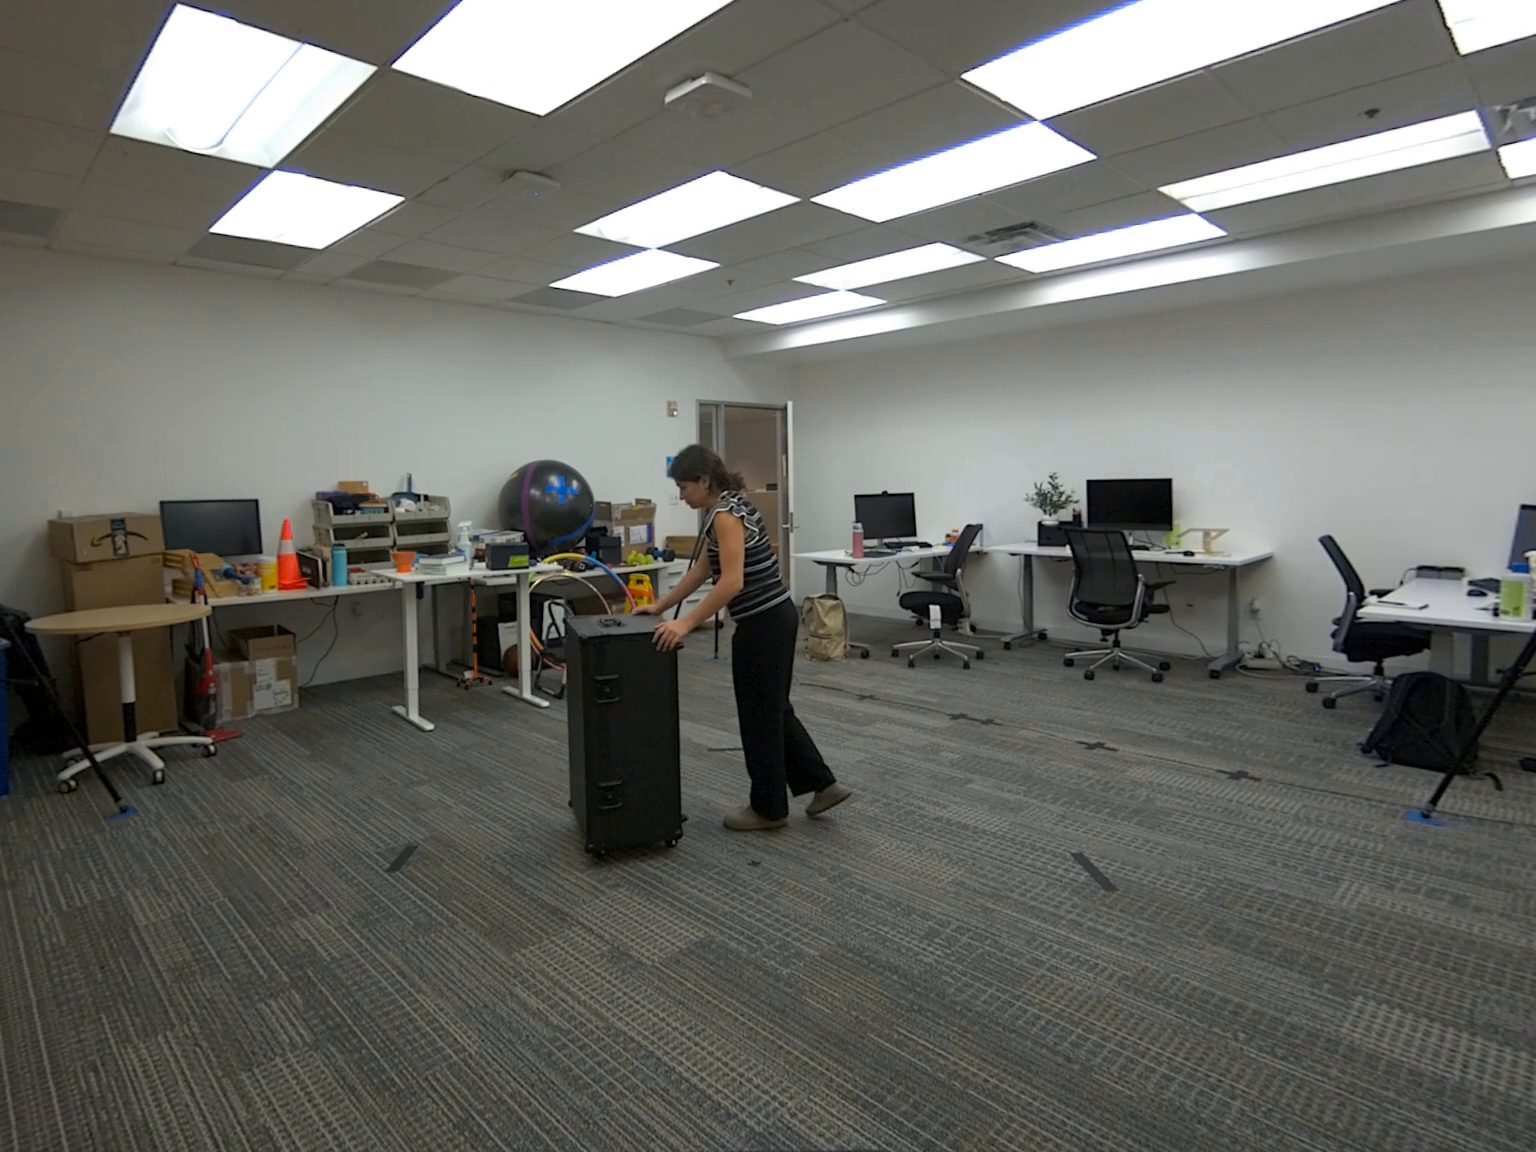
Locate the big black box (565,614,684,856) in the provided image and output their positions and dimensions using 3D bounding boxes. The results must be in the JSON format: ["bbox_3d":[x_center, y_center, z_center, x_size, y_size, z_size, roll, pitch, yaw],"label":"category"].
[{"bbox_3d":[-0.558,0.603,3.321,0.390,0.859,0.531,-2,3,-19],"label":"big black box"}]
